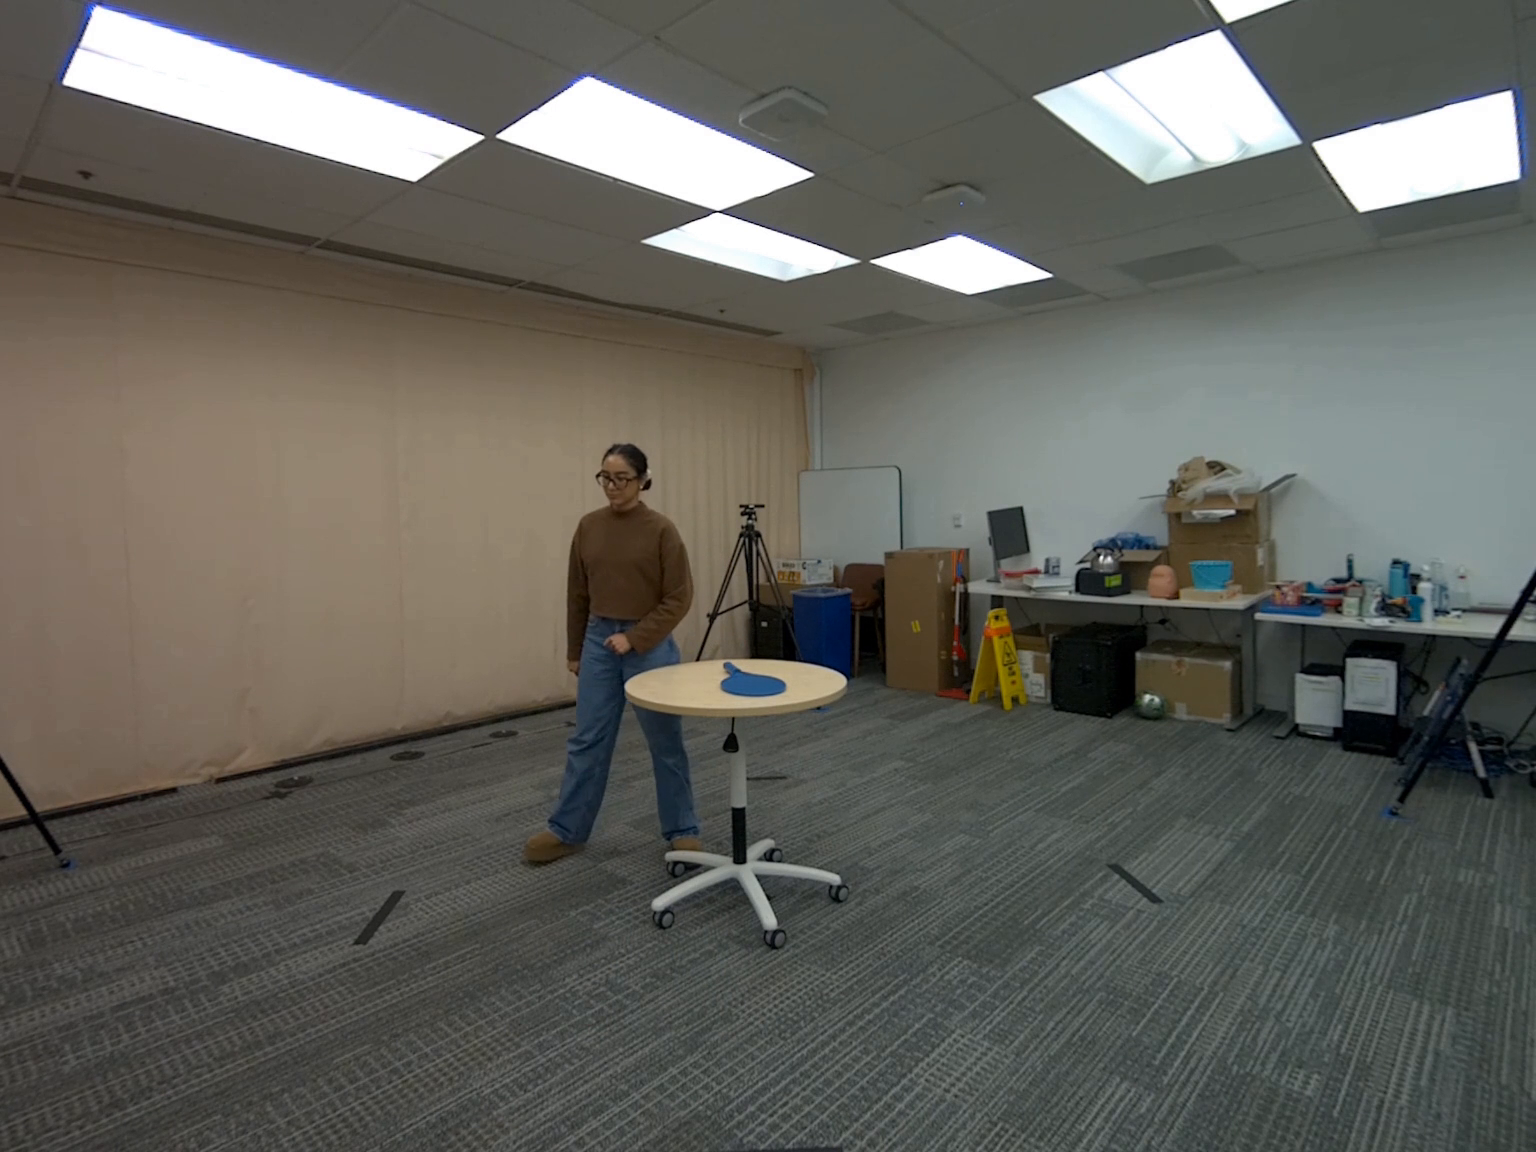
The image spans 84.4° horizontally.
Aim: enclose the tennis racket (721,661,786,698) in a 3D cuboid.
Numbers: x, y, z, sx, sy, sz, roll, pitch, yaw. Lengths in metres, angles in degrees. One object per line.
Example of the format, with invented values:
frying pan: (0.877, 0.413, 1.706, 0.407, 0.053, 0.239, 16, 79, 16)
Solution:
tennis racket: (-0.070, 0.359, 2.876, 0.211, 0.031, 0.440, -3, 7, -14)
